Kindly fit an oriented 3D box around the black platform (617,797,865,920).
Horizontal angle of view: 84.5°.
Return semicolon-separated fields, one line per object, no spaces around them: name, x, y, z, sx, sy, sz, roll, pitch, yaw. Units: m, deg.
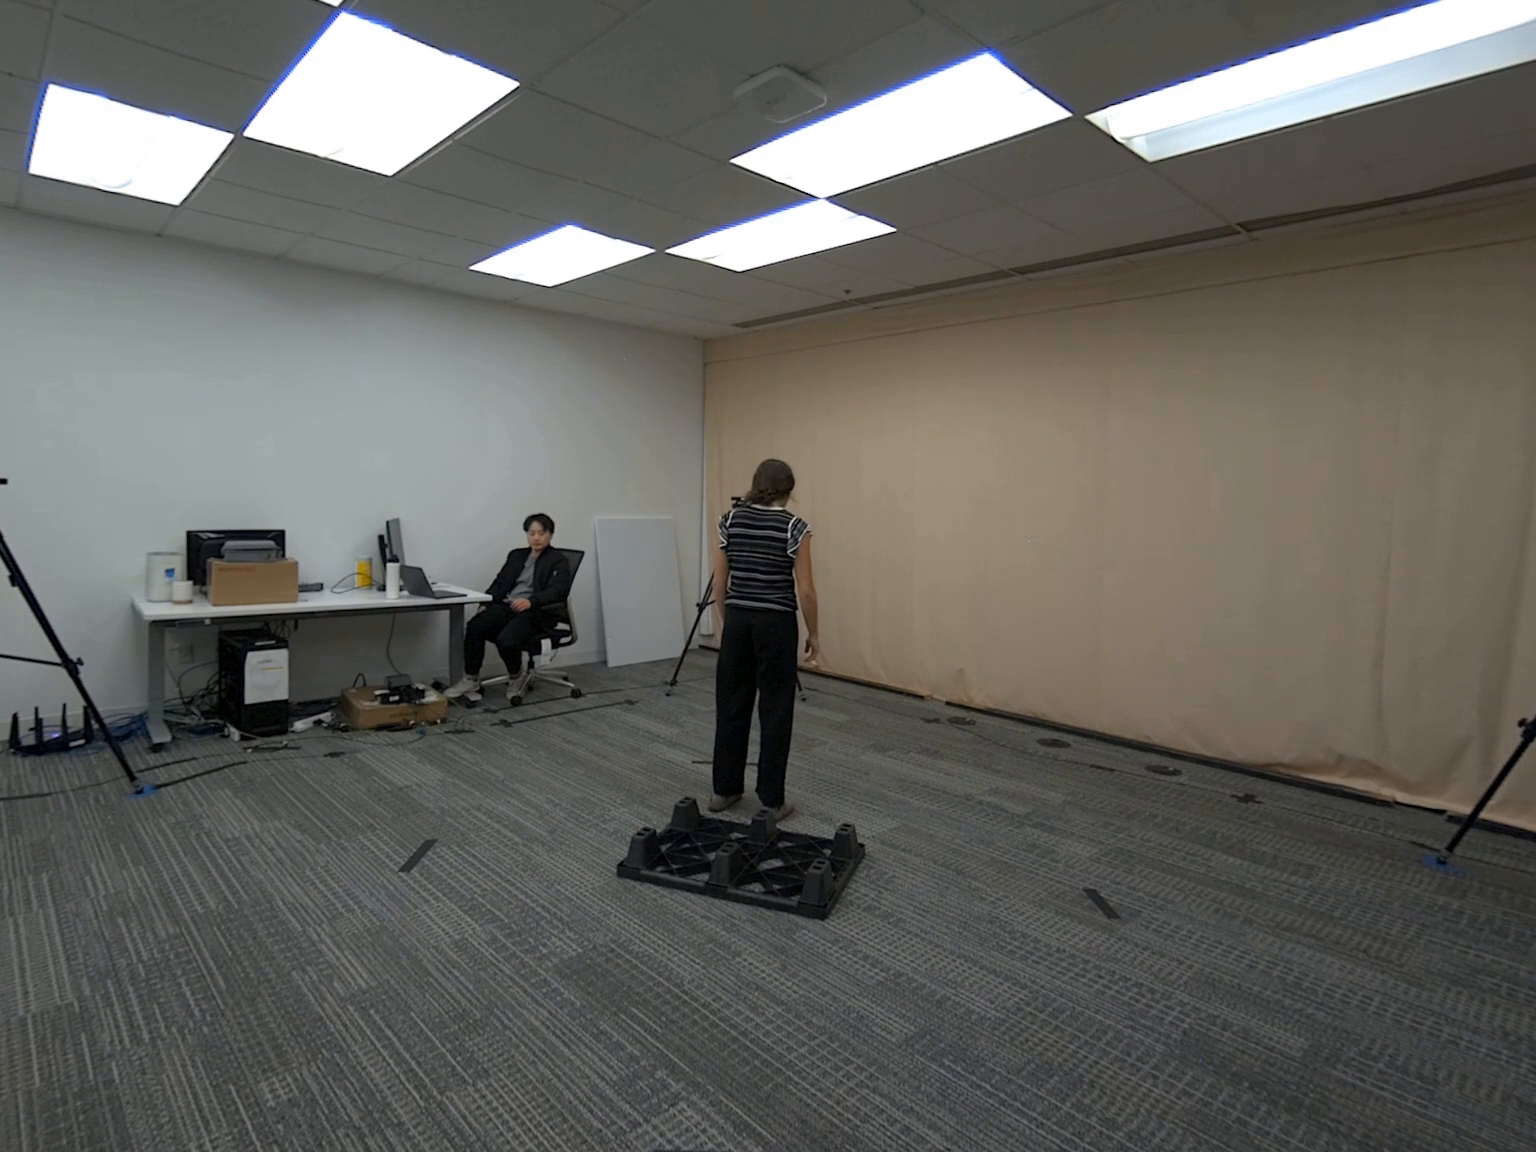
black platform;-0.098;1.031;3.200;0.819;0.143;0.597;3;5;20
